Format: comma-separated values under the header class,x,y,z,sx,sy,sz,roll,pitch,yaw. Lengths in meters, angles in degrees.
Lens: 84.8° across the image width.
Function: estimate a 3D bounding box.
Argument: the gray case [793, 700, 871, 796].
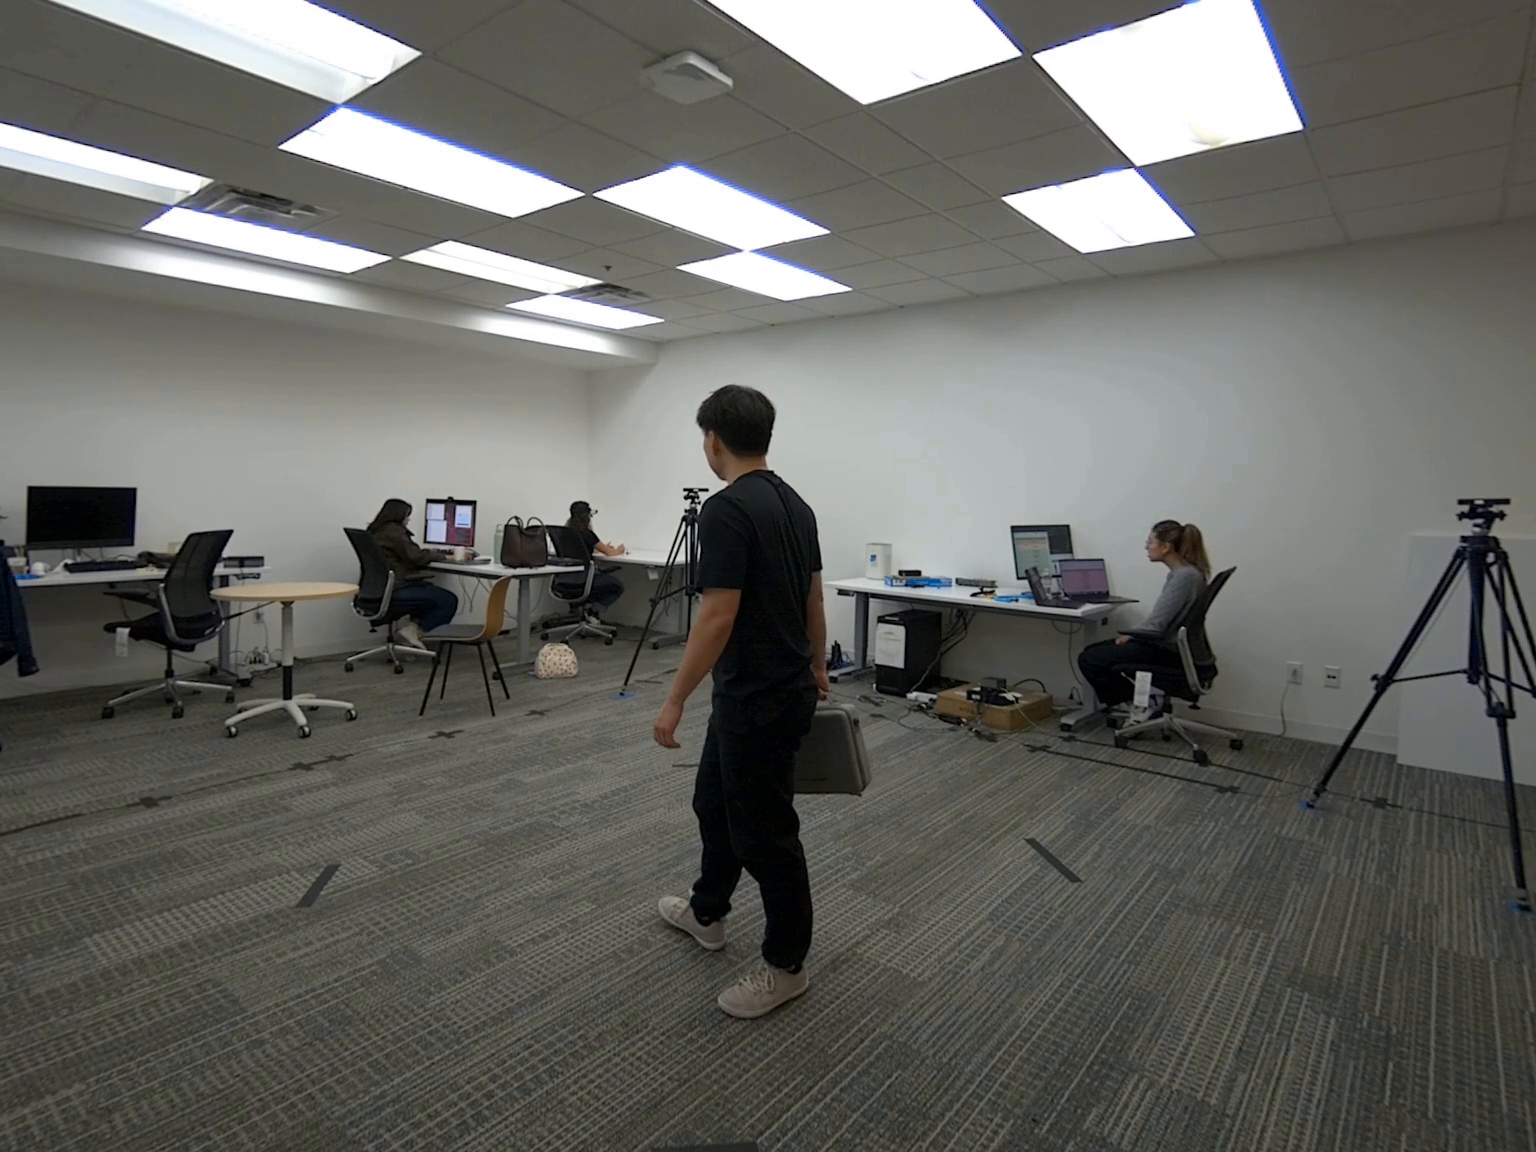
class,x,y,z,sx,sy,sz,roll,pitch,yaw
gray case,0.144,0.515,2.564,0.263,0.261,0.102,-9,0,30
